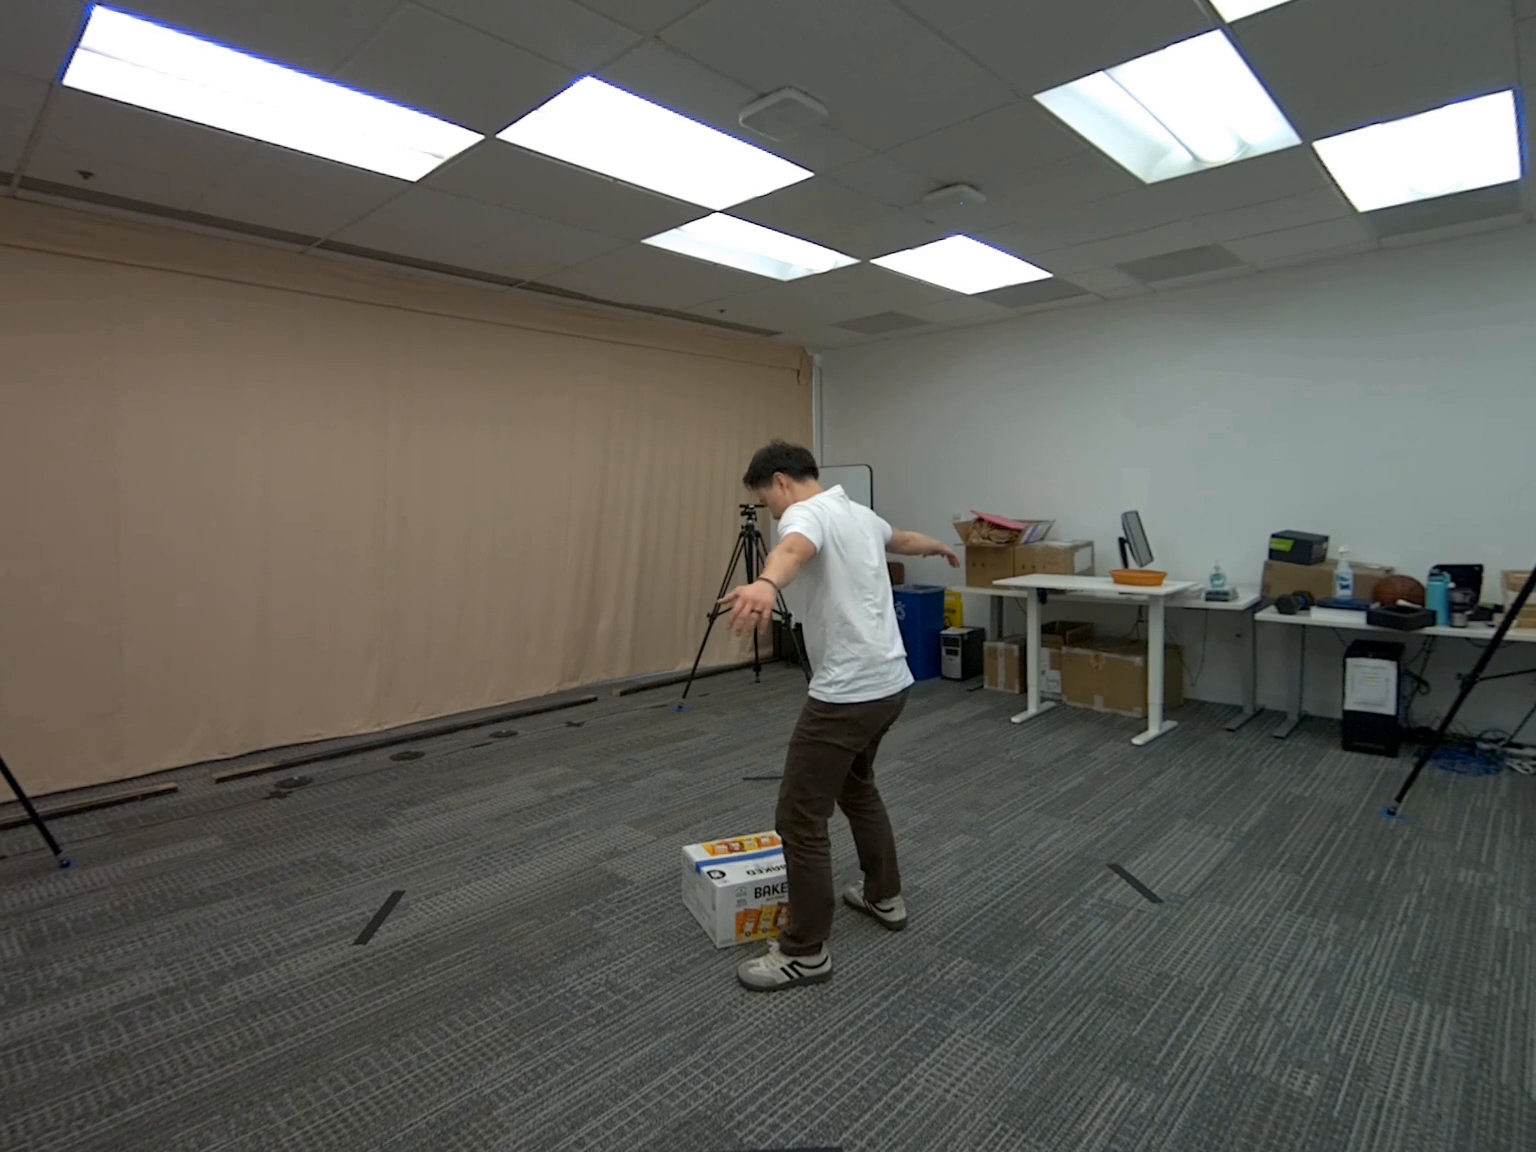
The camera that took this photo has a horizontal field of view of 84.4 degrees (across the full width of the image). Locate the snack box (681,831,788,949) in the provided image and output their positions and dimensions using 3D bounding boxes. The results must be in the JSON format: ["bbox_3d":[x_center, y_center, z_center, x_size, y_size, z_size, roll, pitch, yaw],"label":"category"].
[{"bbox_3d":[-0.044,1.050,2.858,0.396,0.205,0.349,-3,5,-23],"label":"snack box"}]
